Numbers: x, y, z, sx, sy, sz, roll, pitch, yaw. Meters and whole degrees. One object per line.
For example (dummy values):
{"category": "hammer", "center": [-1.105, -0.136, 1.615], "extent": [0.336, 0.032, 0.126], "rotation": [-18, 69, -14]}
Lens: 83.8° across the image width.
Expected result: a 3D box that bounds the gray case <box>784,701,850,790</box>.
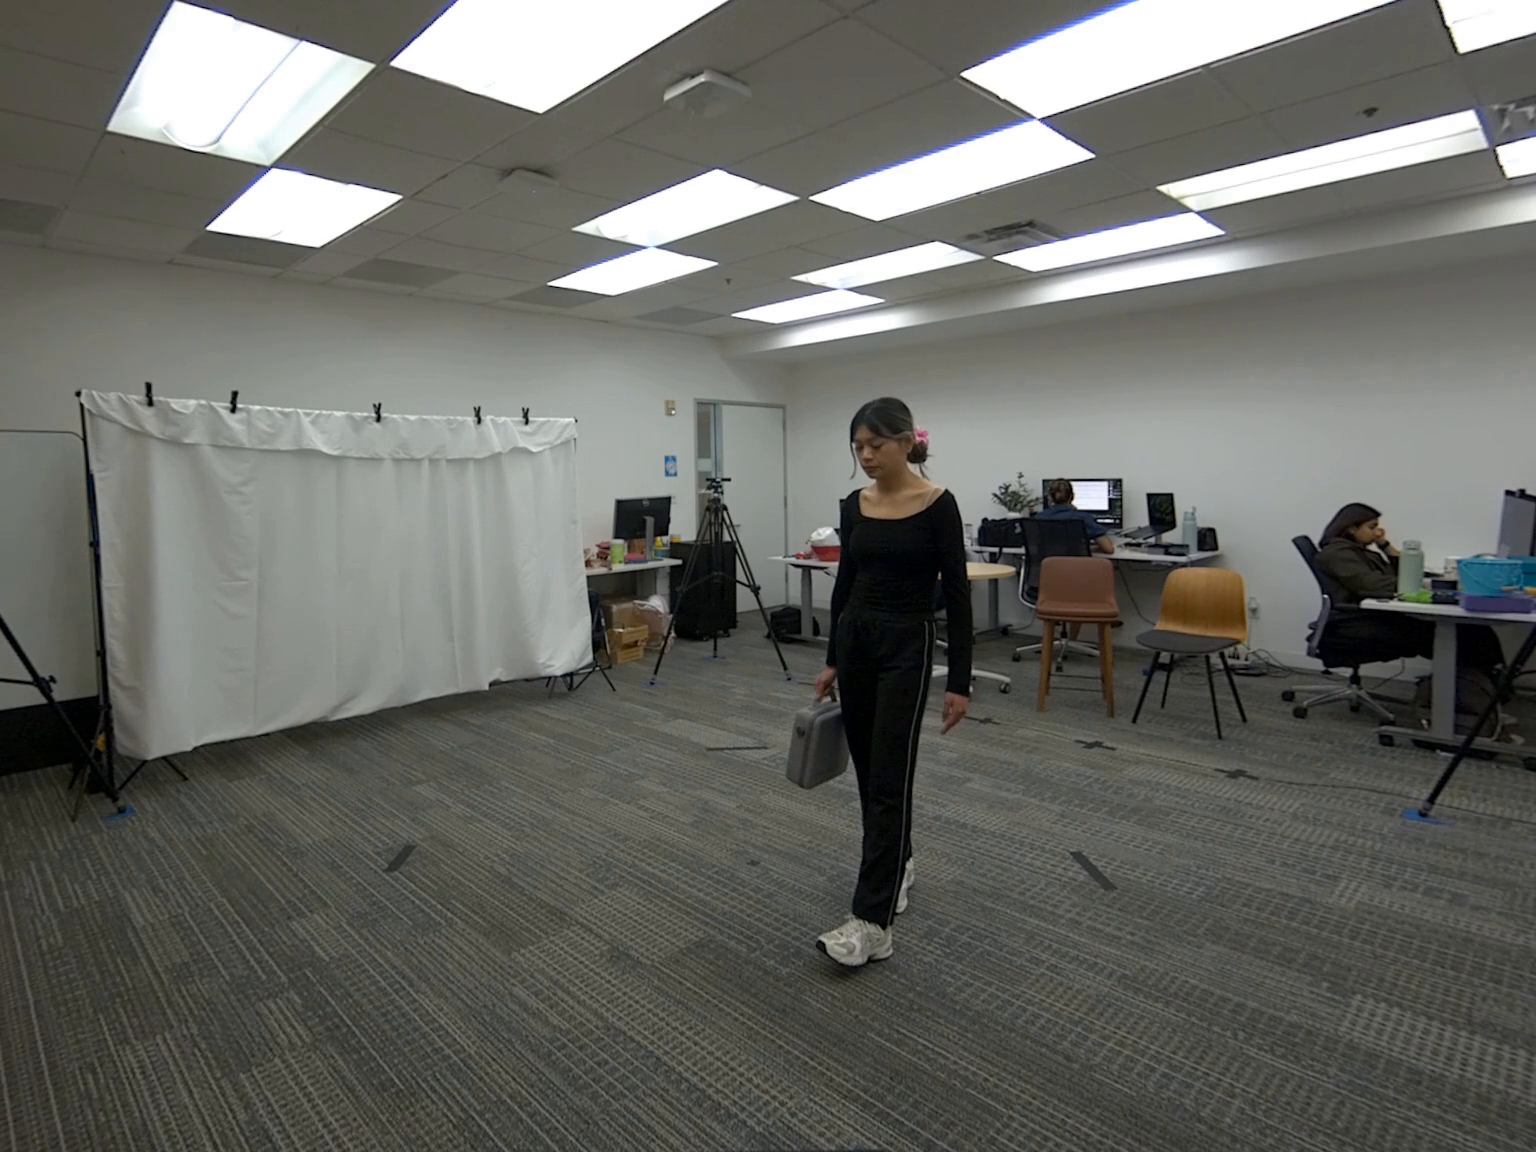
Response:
{"category": "gray case", "center": [0.187, 0.544, 2.813], "extent": [0.108, 0.259, 0.250], "rotation": [12, 10, 37]}
